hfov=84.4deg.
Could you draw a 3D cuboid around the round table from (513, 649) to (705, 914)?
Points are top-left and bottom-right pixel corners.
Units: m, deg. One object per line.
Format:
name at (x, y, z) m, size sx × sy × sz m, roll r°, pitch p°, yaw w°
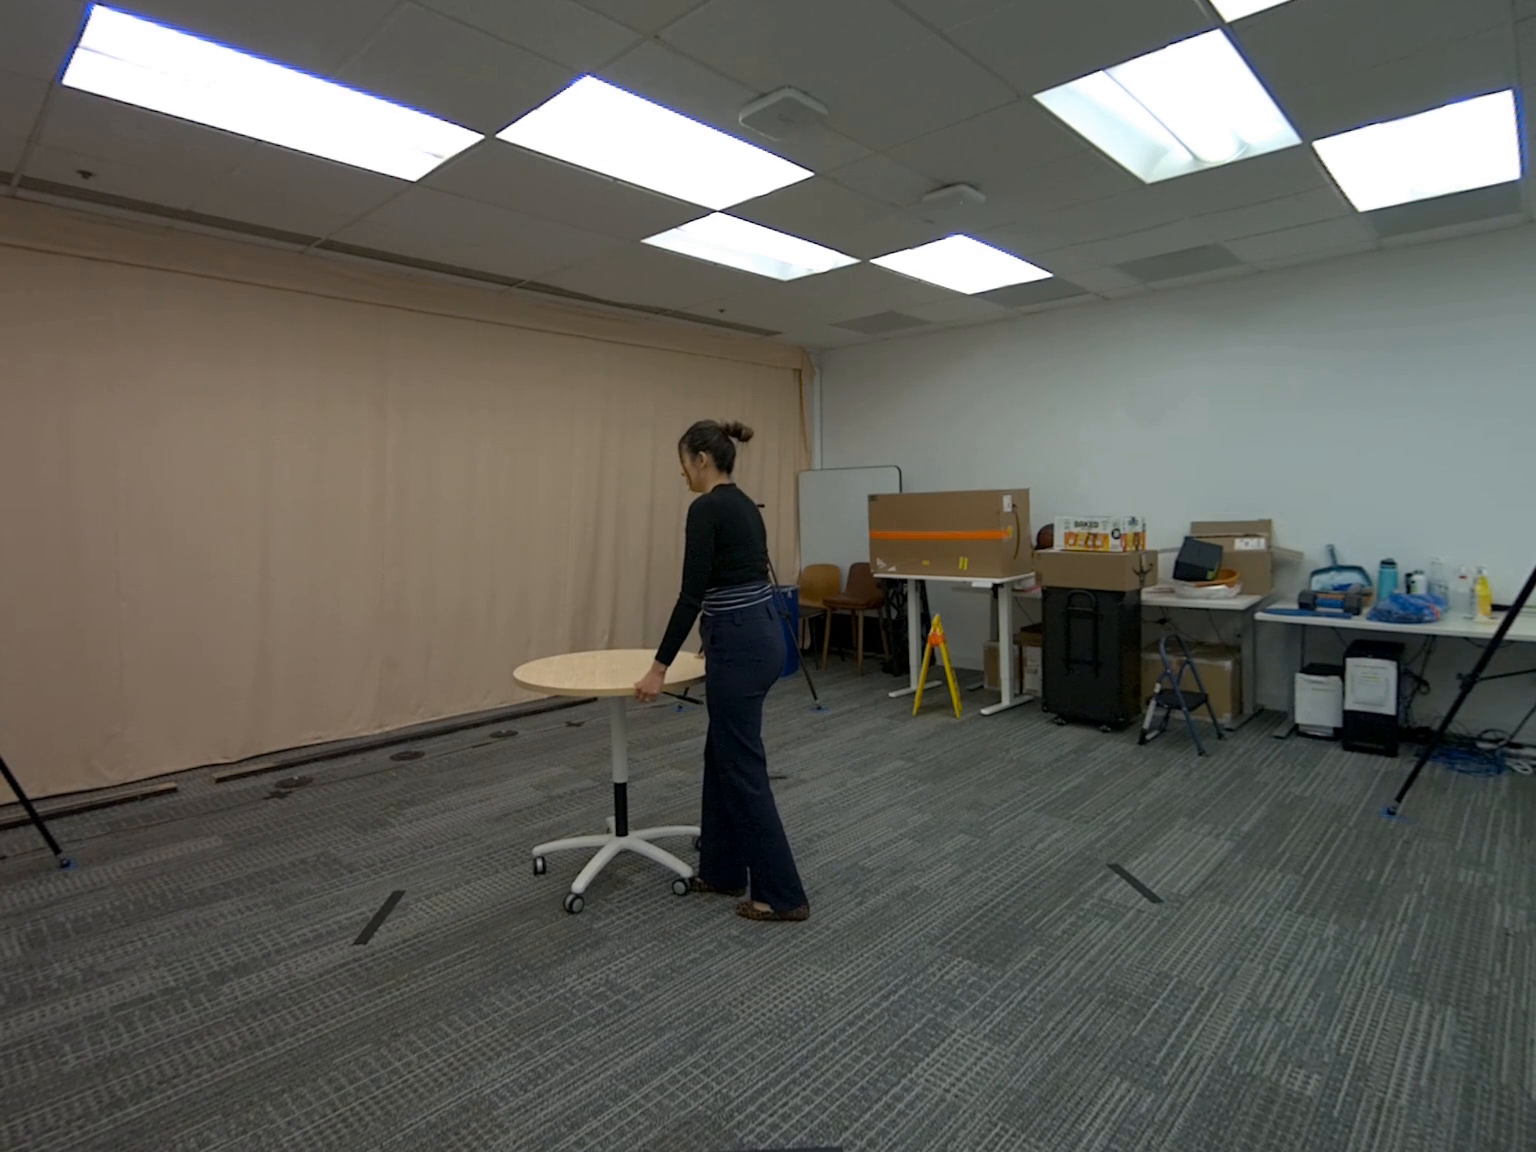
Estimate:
round table at (-0.567, 0.743, 3.210) m, size 0.763 × 0.792 × 0.766 m, roll -1°, pitch 3°, yaw -2°
